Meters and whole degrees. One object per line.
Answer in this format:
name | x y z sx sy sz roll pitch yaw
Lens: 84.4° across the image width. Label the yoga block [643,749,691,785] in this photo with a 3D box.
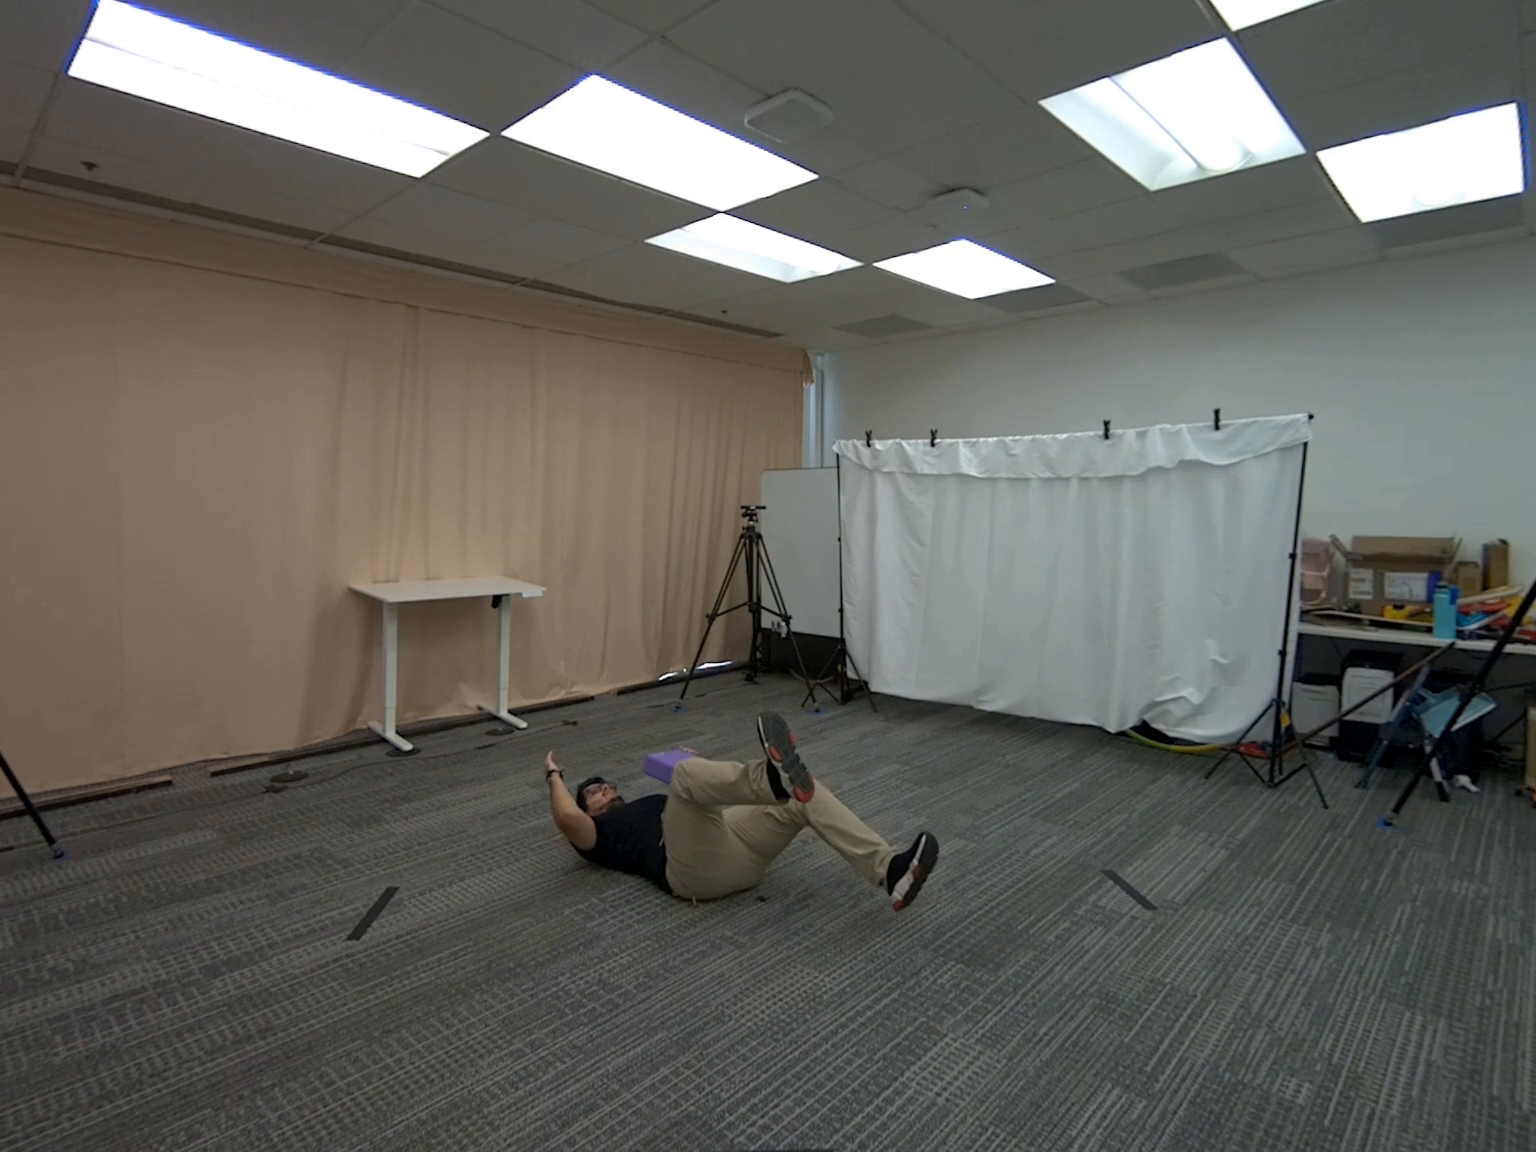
yoga block | -0.357 0.741 3.254 0.154 0.076 0.222 15 3 31
